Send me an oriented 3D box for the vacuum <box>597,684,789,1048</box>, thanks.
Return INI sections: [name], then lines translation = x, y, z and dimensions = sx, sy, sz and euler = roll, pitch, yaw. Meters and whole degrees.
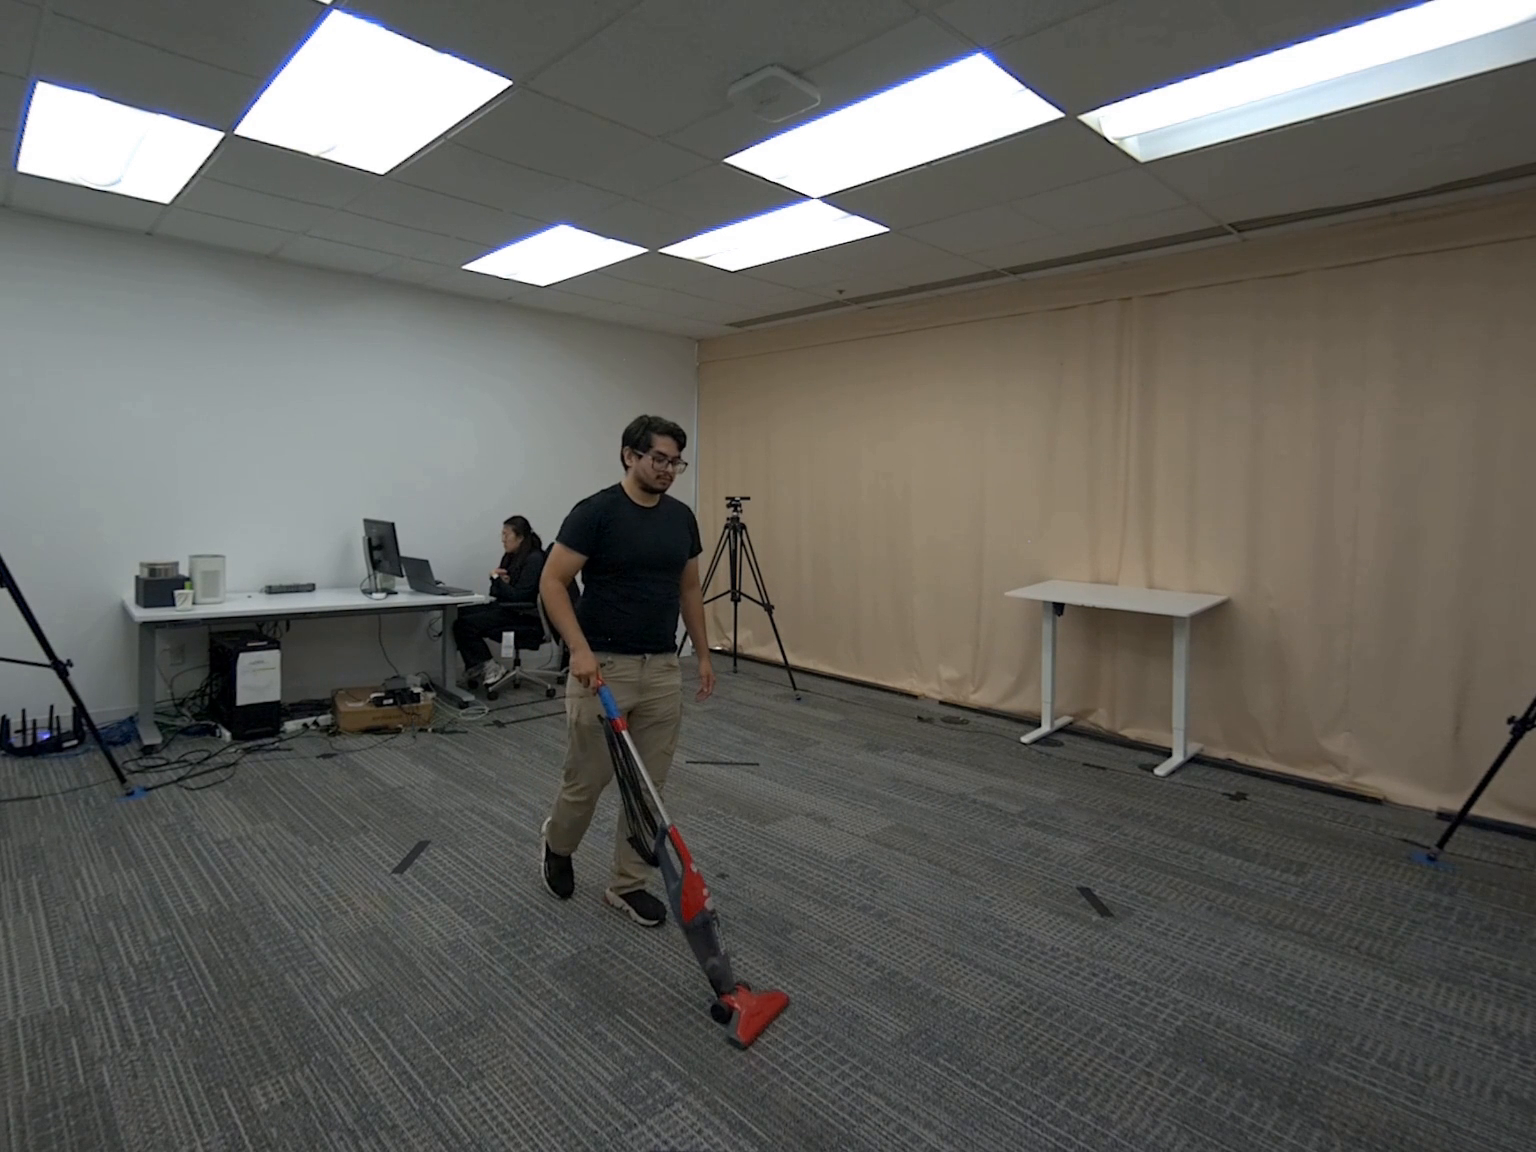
[vacuum]
translation = -0.303, 0.740, 2.395
dimensions = 0.144, 1.065, 0.247
euler = -38, -17, 29
